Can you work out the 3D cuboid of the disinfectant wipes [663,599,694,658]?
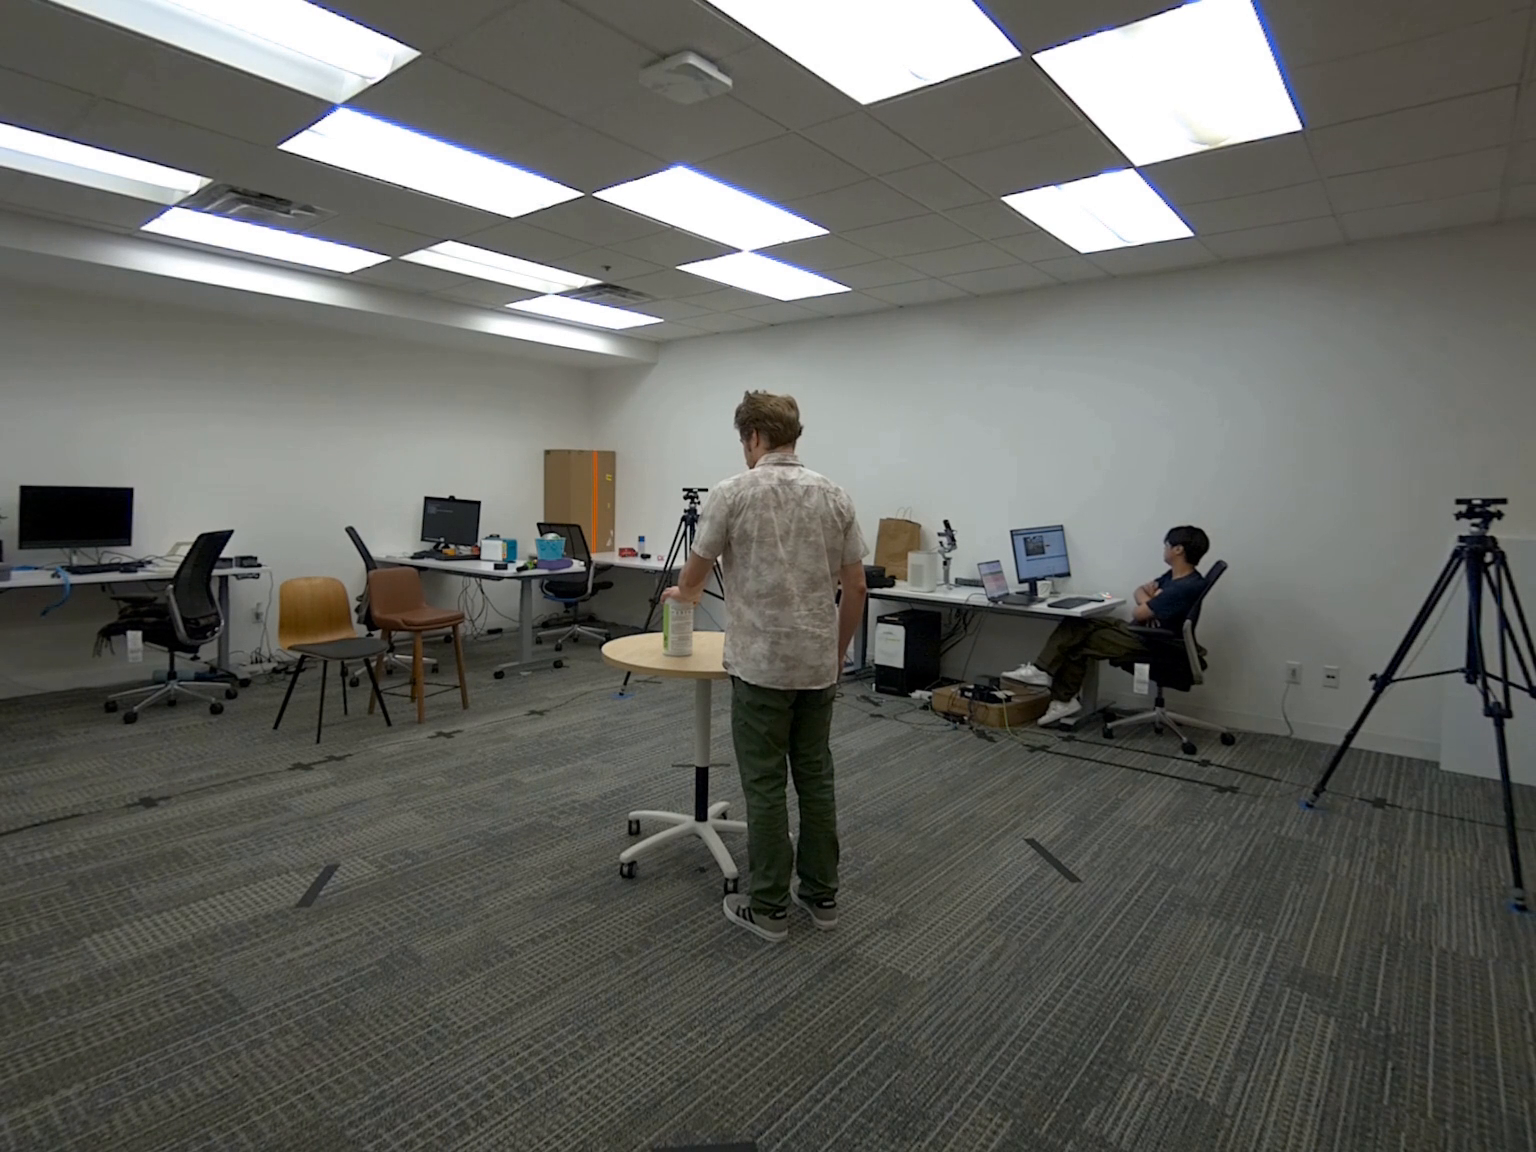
[{"bbox_3d":[-0.333,0.174,3.073,0.118,0.216,0.118,-1,5,-2],"label":"disinfectant wipes"}]
